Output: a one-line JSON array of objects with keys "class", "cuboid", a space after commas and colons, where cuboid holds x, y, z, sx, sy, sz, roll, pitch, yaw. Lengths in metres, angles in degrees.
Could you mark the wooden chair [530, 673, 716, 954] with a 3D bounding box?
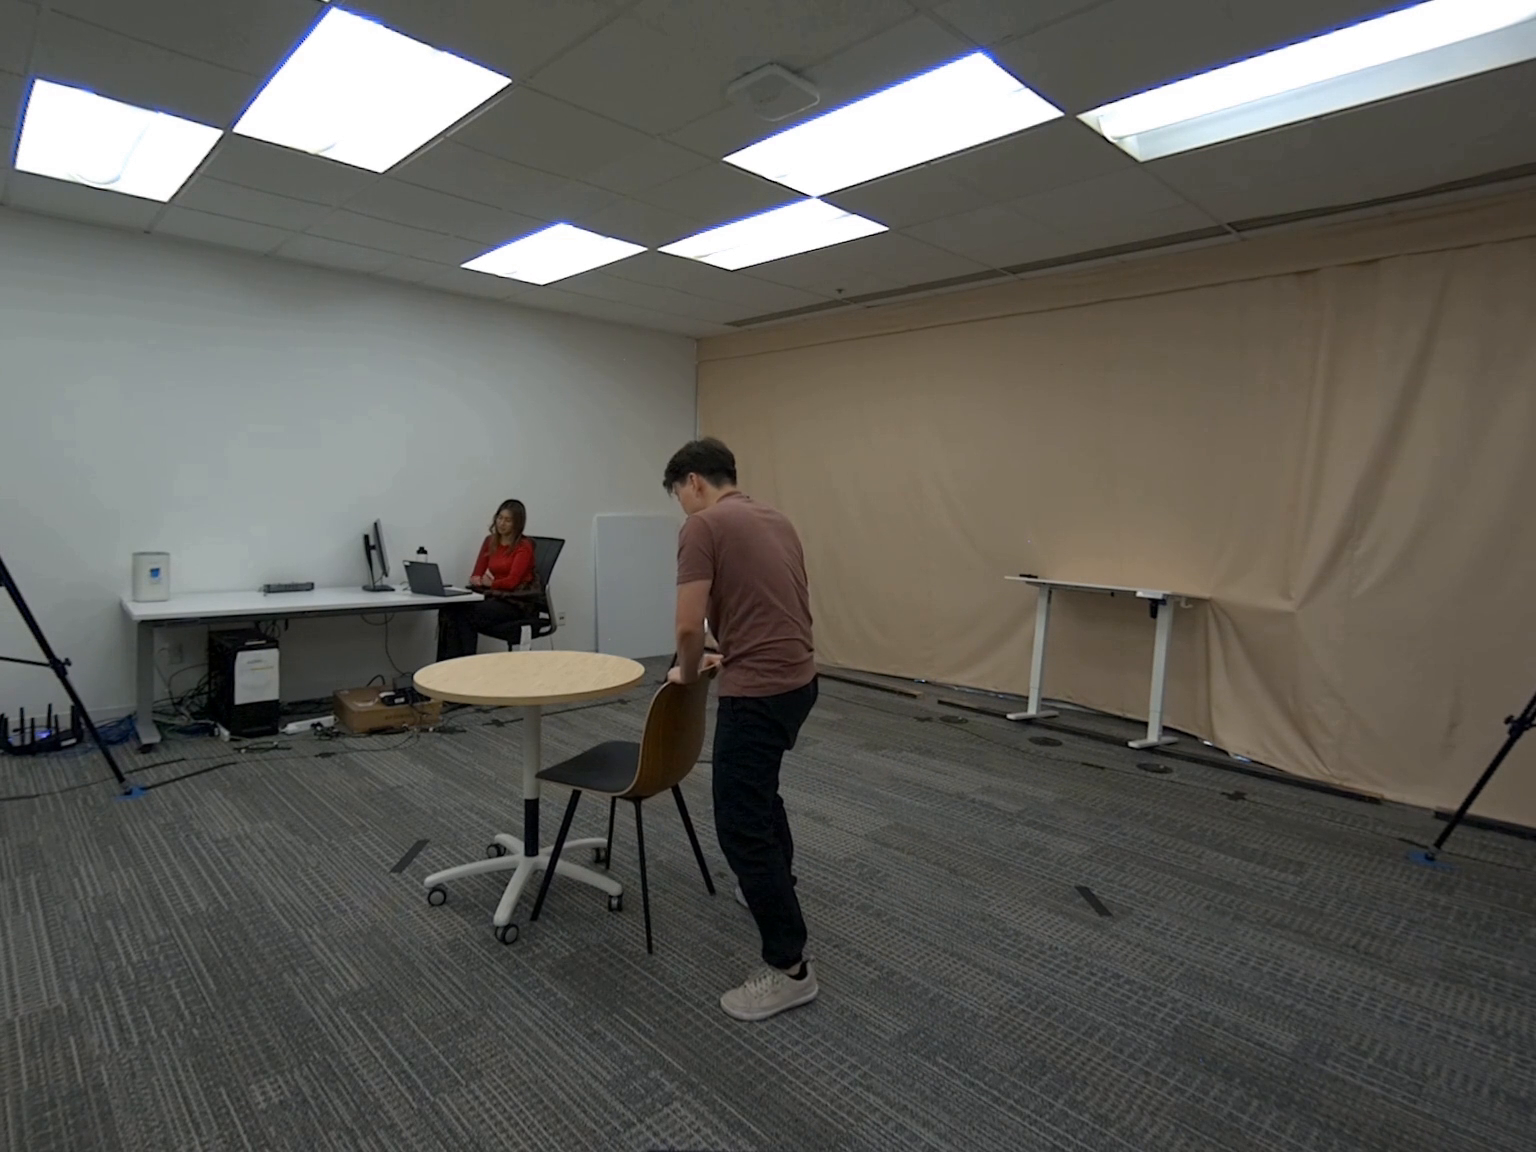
[{"class": "wooden chair", "cuboid": [-0.478, 0.693, 2.815, 0.534, 0.874, 0.470, 8, 6, 24]}]
